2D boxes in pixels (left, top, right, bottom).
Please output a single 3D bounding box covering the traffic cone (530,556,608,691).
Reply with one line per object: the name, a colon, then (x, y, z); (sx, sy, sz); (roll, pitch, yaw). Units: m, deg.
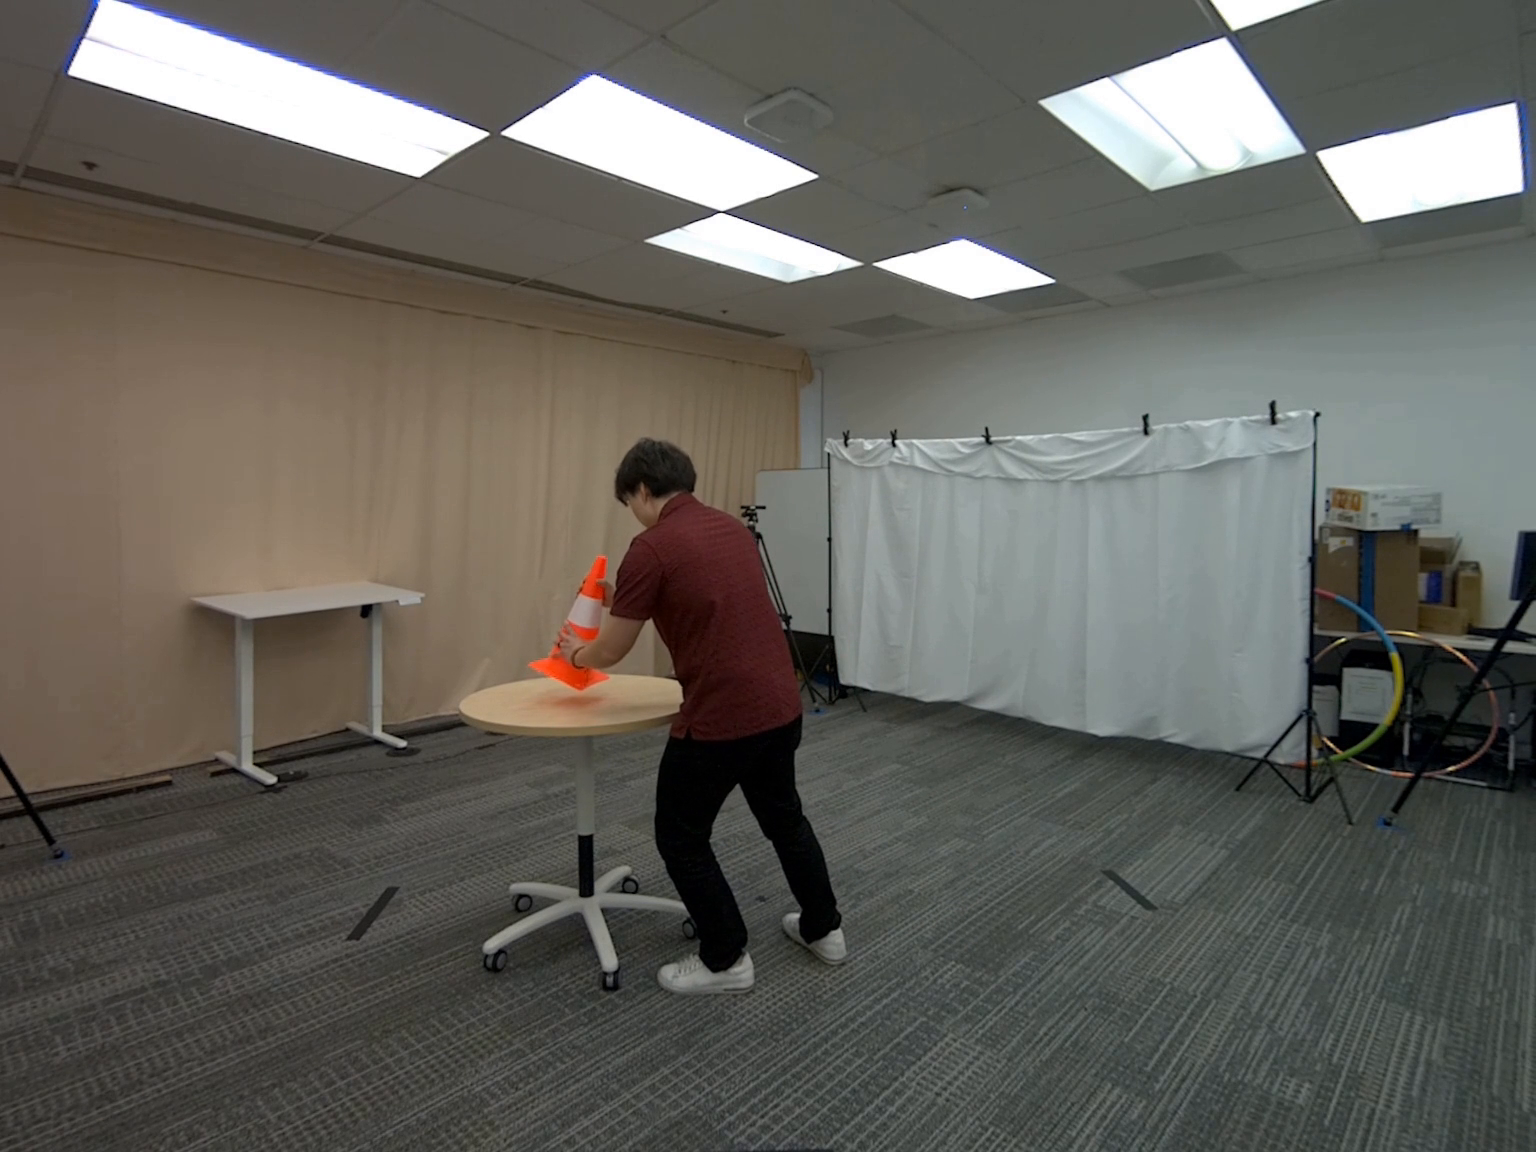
traffic cone: (-0.575, 0.124, 2.595); (0.204, 0.382, 0.205); (13, 7, -5)
